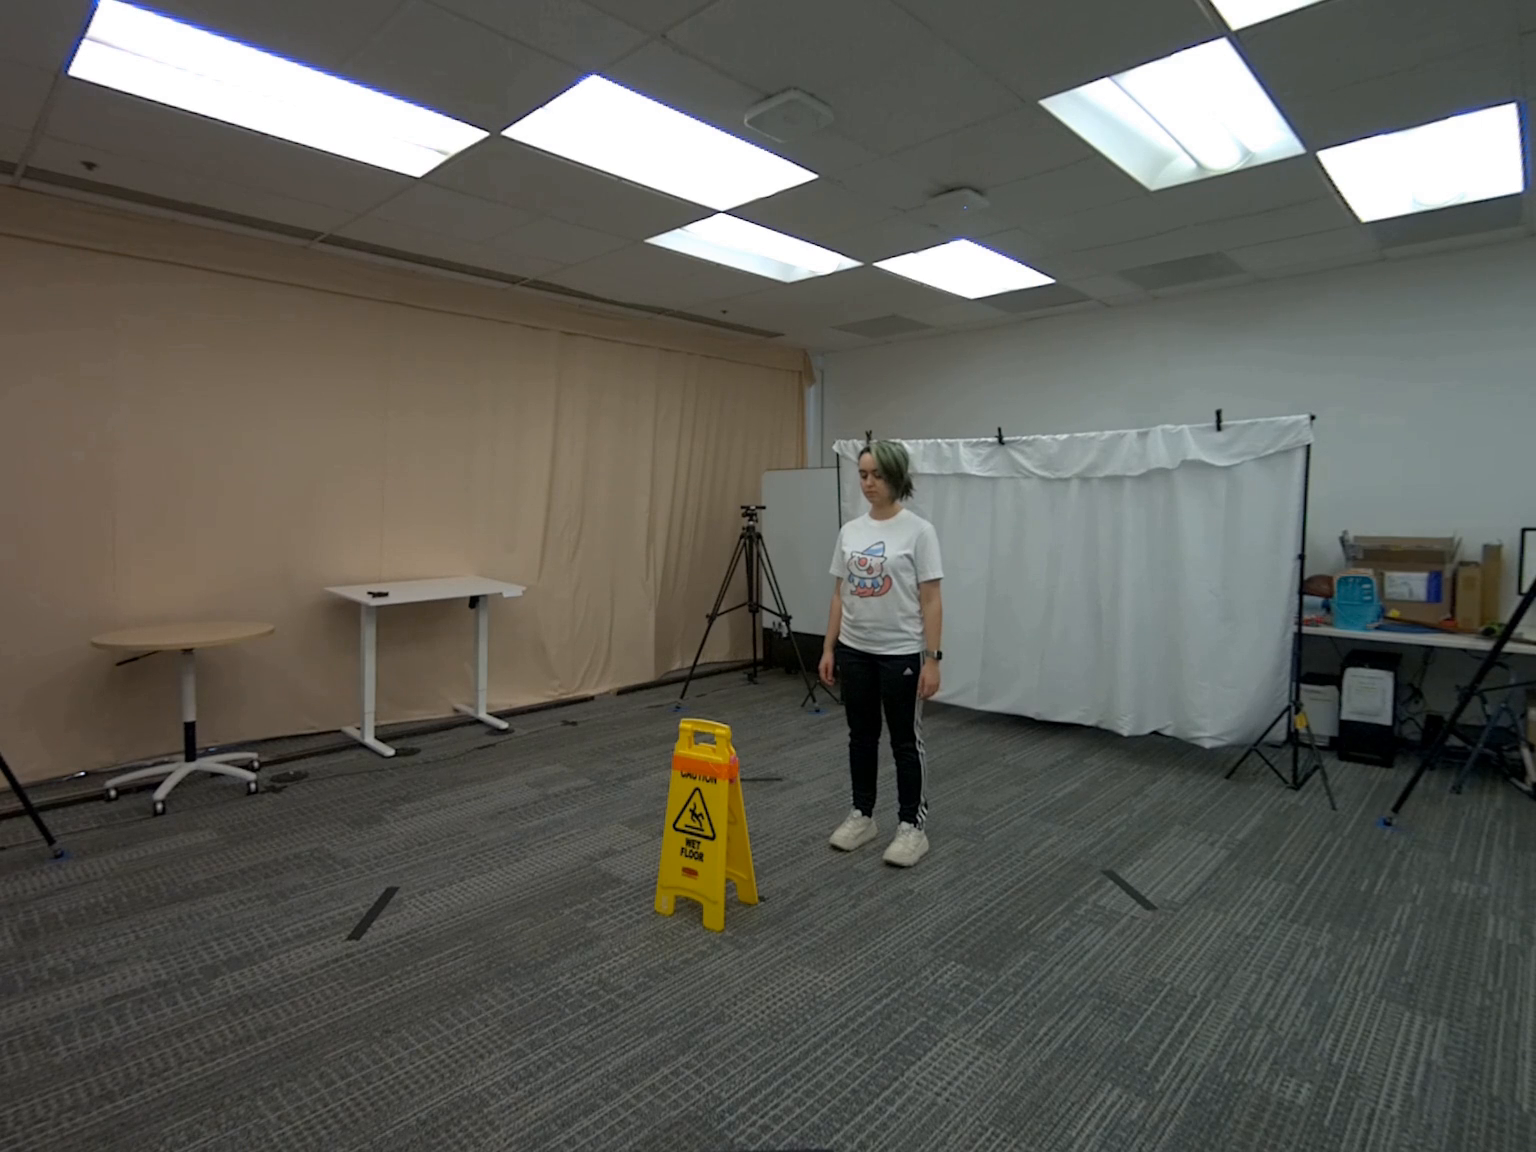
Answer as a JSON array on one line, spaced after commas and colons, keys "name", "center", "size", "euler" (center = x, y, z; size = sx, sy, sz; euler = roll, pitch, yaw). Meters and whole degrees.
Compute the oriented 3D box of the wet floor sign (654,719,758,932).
[{"name": "wet floor sign", "center": [-0.214, 0.826, 2.899], "size": [0.290, 0.645, 0.282], "euler": [1, 4, 31]}]
